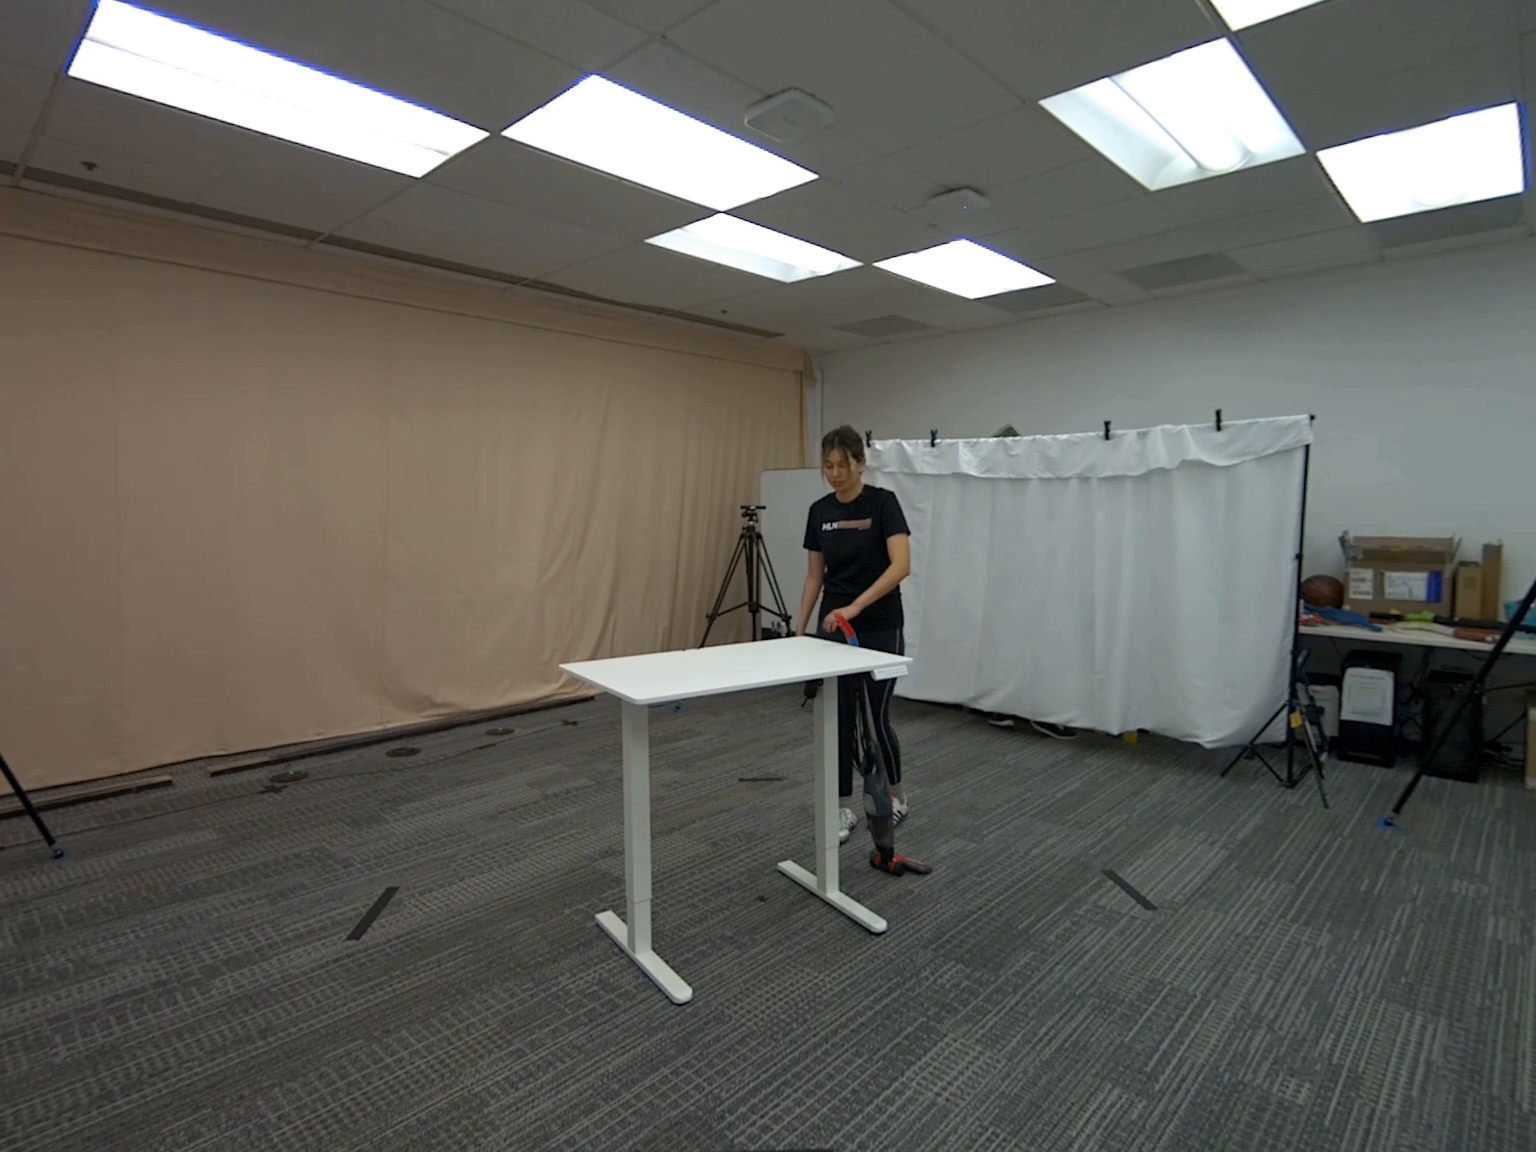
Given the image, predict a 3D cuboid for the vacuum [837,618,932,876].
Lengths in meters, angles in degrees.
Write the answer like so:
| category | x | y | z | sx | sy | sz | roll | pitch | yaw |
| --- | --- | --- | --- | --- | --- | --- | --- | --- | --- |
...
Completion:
| category | x | y | z | sx | sy | sz | roll | pitch | yaw |
| --- | --- | --- | --- | --- | --- | --- | --- | --- | --- |
| vacuum | 0.375 | 0.644 | 3.114 | 0.261 | 1.035 | 0.141 | 0 | 20 | 42 |
